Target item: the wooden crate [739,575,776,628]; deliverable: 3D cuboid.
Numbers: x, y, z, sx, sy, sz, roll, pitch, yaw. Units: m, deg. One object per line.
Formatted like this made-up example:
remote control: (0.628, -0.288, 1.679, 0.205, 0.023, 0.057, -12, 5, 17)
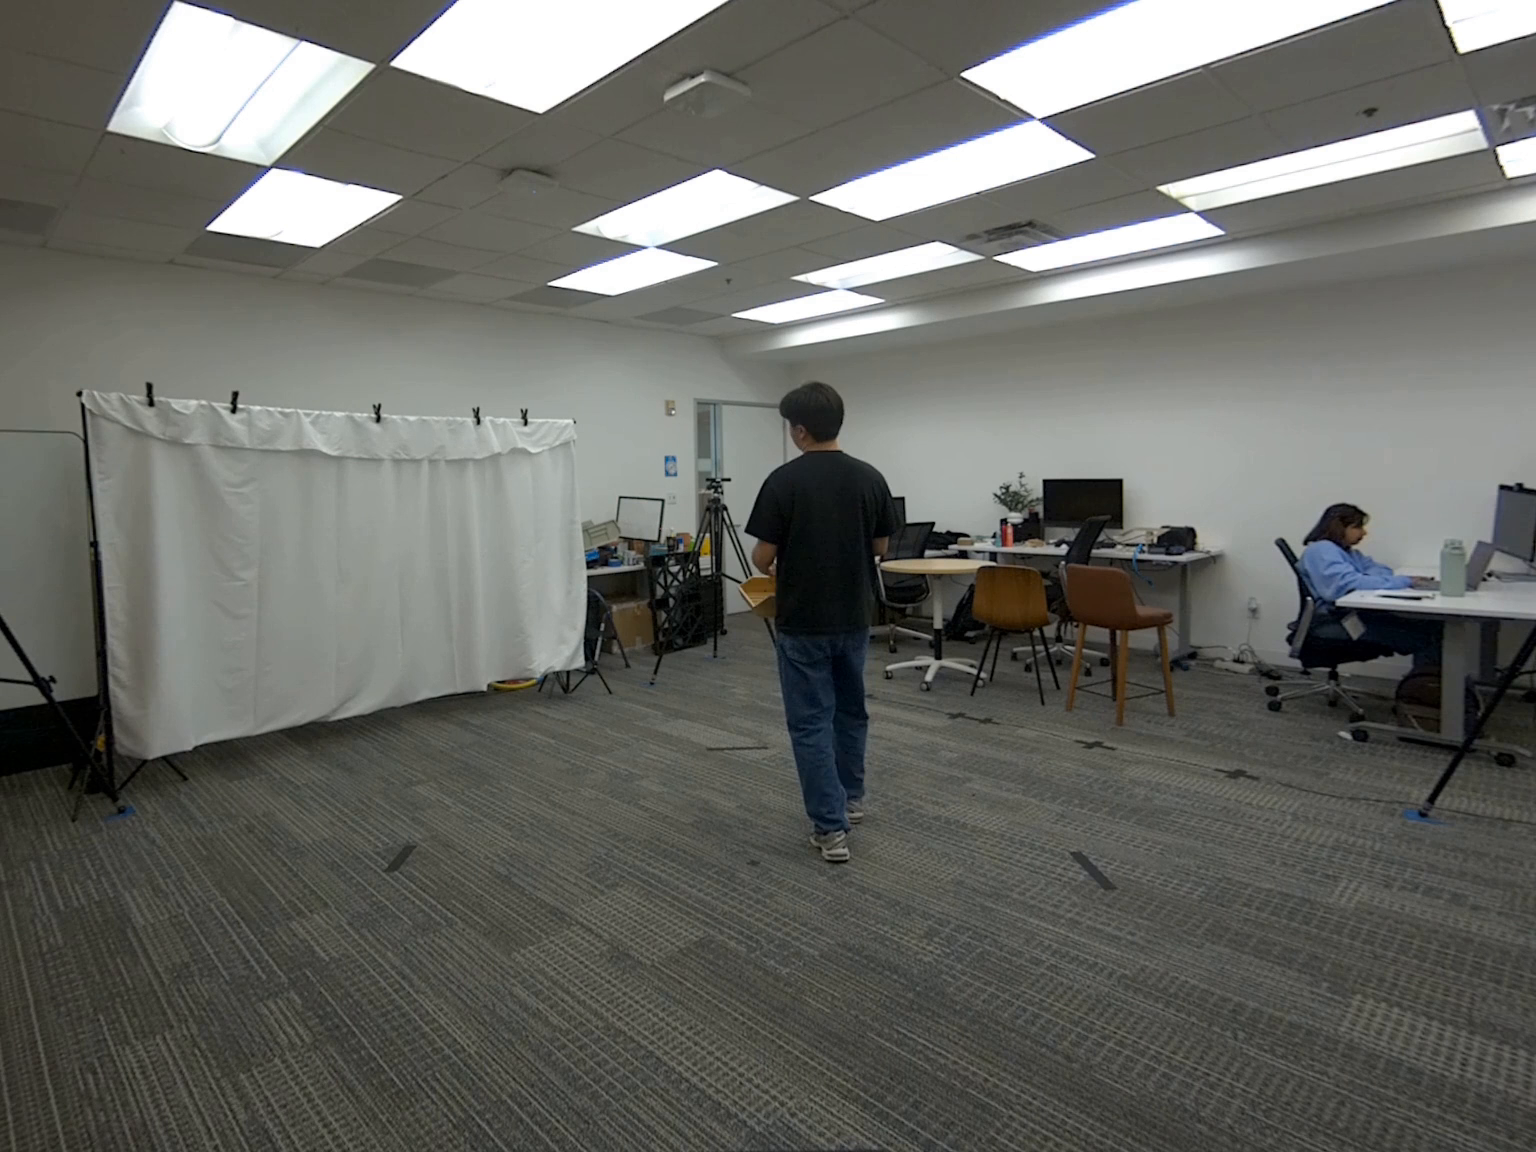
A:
wooden crate: (0.063, 0.002, 3.618, 0.298, 0.270, 0.332, 0, 13, -12)
